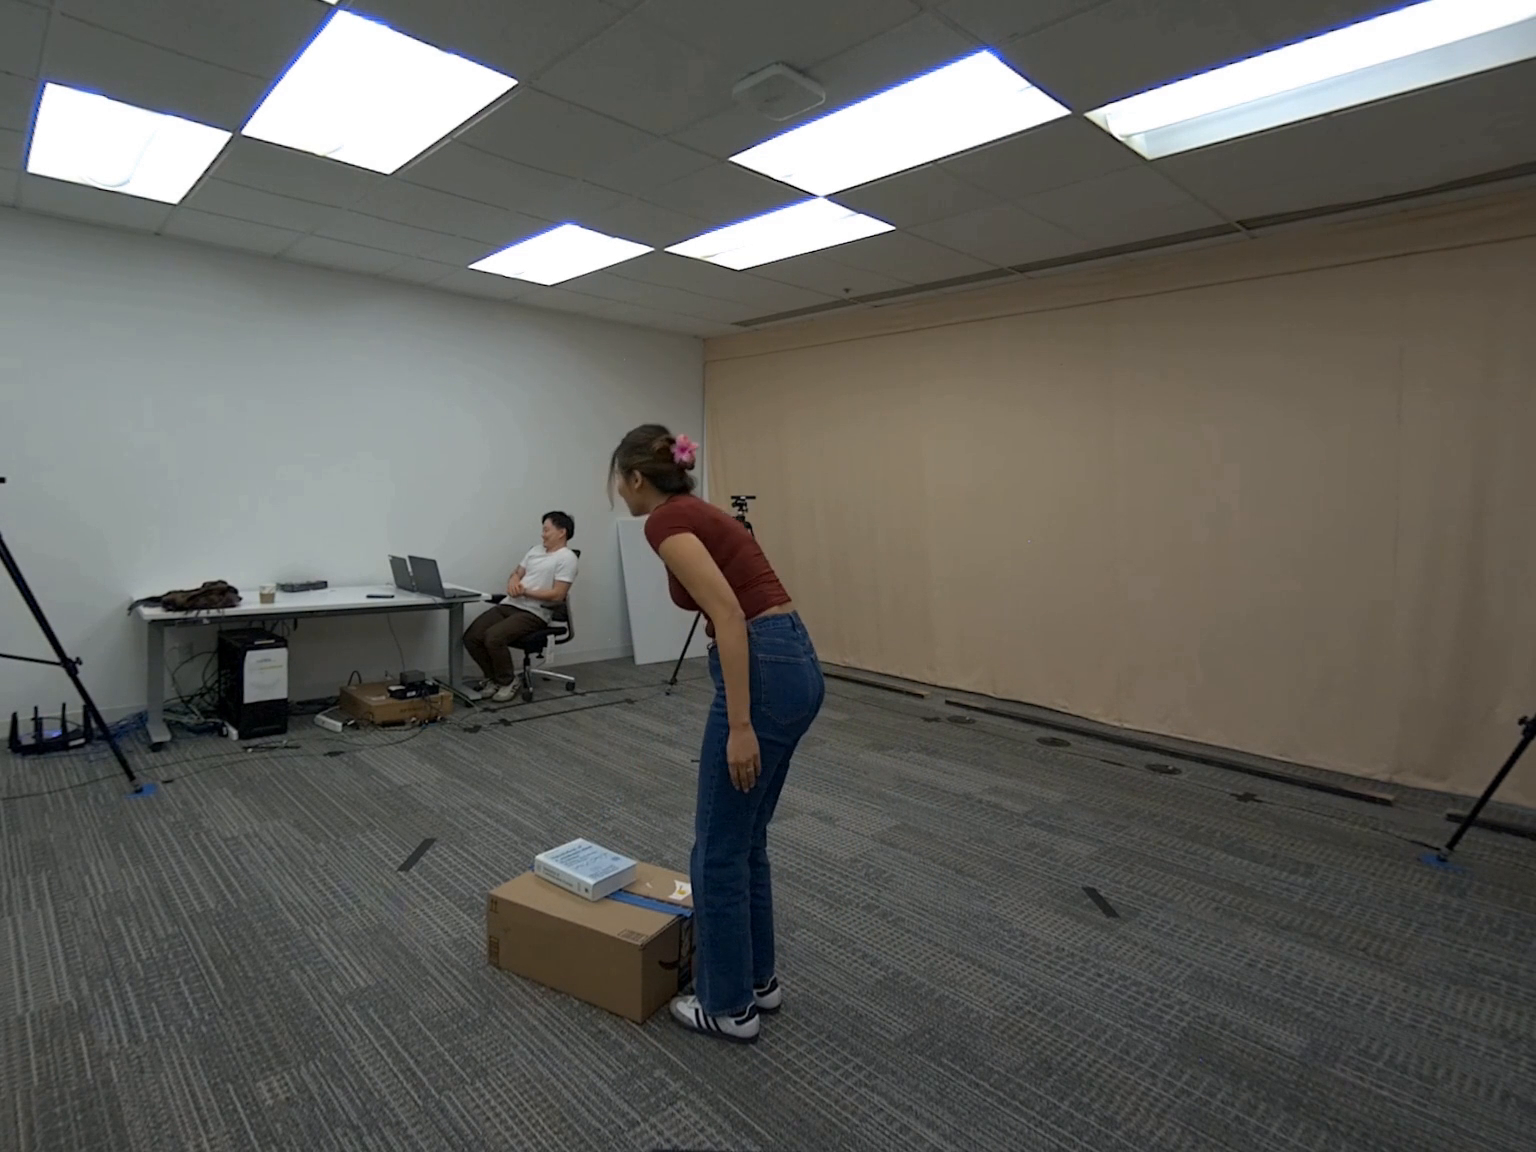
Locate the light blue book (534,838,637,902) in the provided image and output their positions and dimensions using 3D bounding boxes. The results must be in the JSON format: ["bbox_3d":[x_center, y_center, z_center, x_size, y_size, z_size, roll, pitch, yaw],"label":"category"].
[{"bbox_3d":[-0.563,0.896,2.590,0.267,0.059,0.187,7,7,36],"label":"light blue book"}]
